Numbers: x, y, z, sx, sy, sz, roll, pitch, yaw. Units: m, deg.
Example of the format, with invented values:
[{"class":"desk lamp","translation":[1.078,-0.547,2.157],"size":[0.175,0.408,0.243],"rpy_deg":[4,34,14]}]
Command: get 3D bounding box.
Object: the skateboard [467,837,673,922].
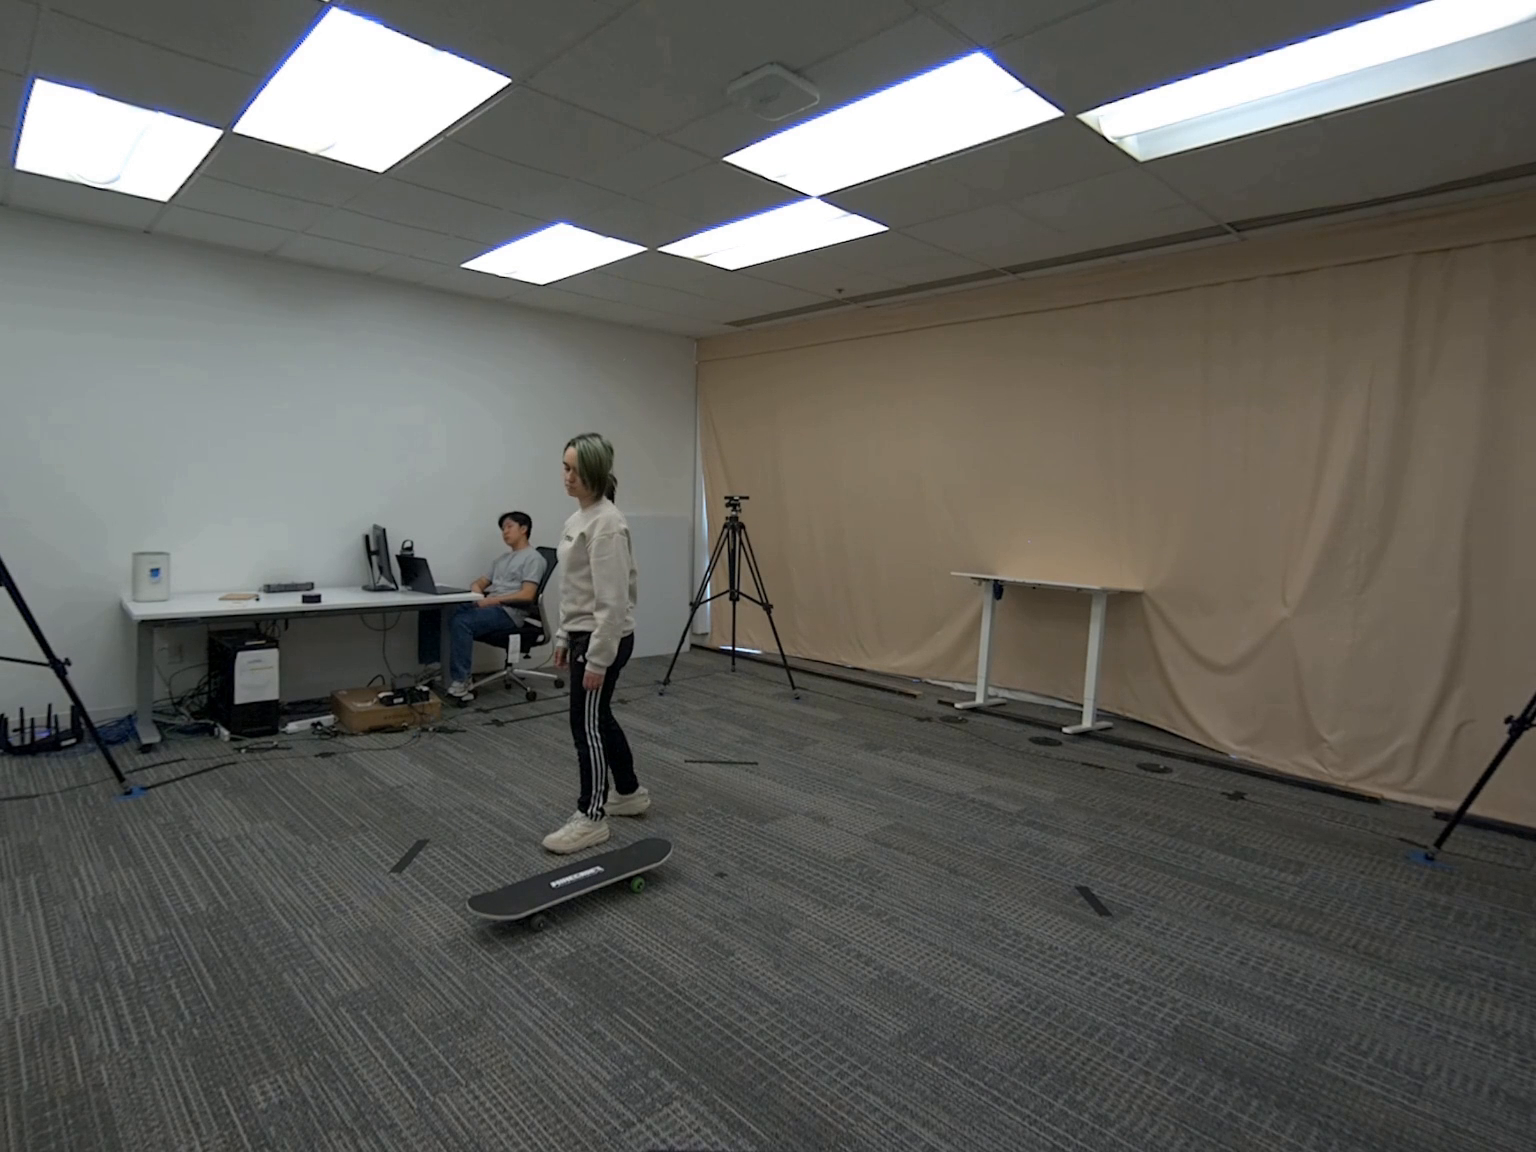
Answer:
[{"class":"skateboard","translation":[-0.651,1.055,2.868],"size":[0.198,0.110,0.768],"rpy_deg":[7,8,43]}]
